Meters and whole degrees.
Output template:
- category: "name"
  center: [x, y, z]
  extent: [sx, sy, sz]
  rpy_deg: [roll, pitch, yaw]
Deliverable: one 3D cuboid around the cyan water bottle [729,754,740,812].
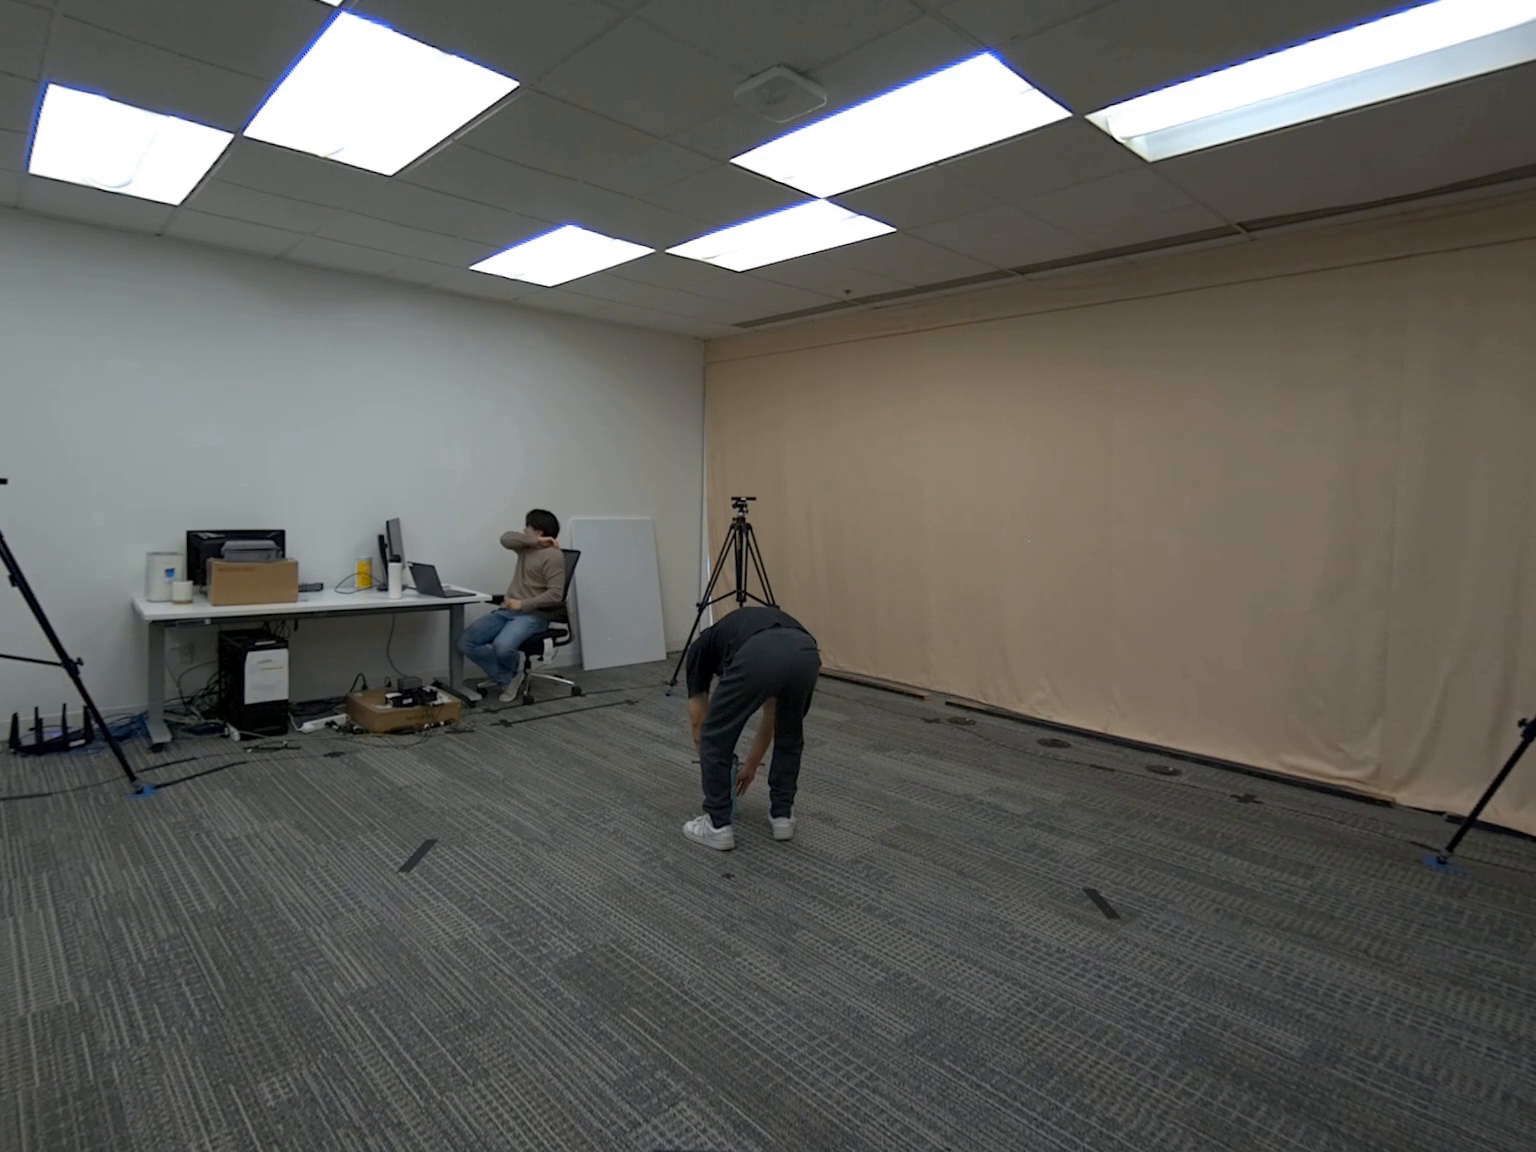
- category: "cyan water bottle"
  center: [-0.180, 0.917, 3.718]
  extent: [0.092, 0.283, 0.092]
  rpy_deg: [4, 3, -2]
